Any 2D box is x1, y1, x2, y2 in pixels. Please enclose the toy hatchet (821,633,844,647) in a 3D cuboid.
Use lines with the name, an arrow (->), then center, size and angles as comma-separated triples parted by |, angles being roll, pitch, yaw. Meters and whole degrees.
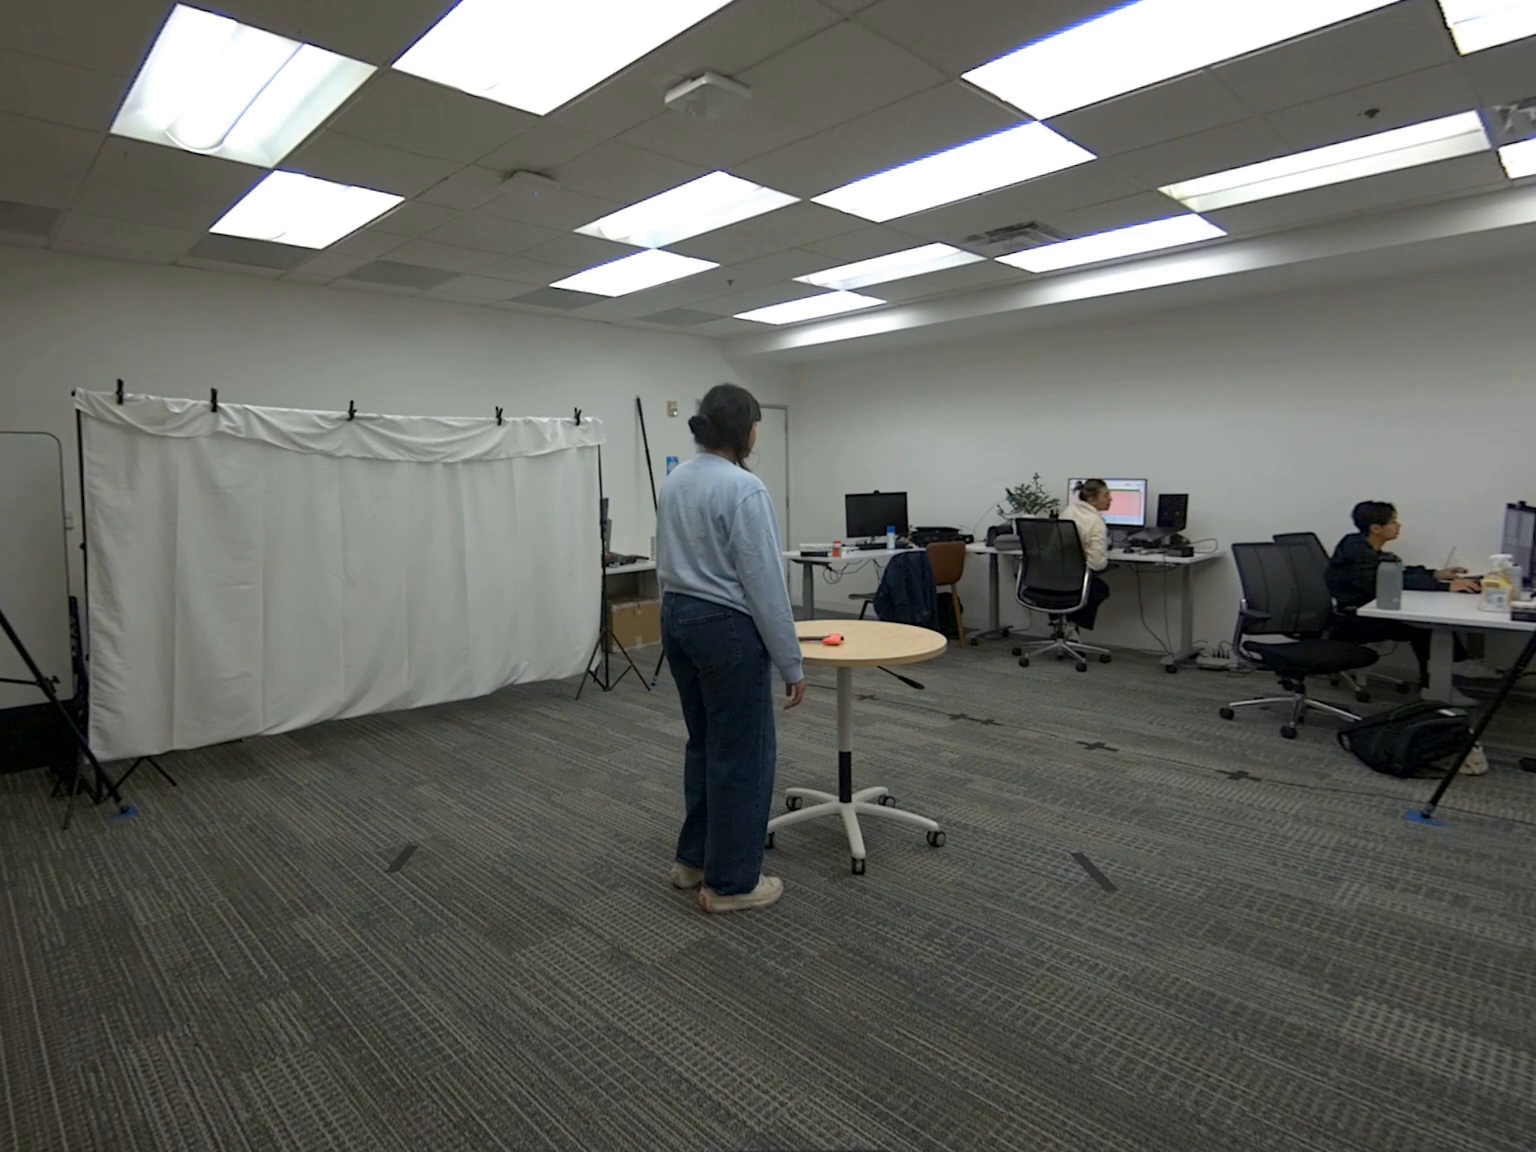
toy hatchet -> 0.161, 0.243, 3.152 | 0.267, 0.029, 0.134 | -5, 12, -14
